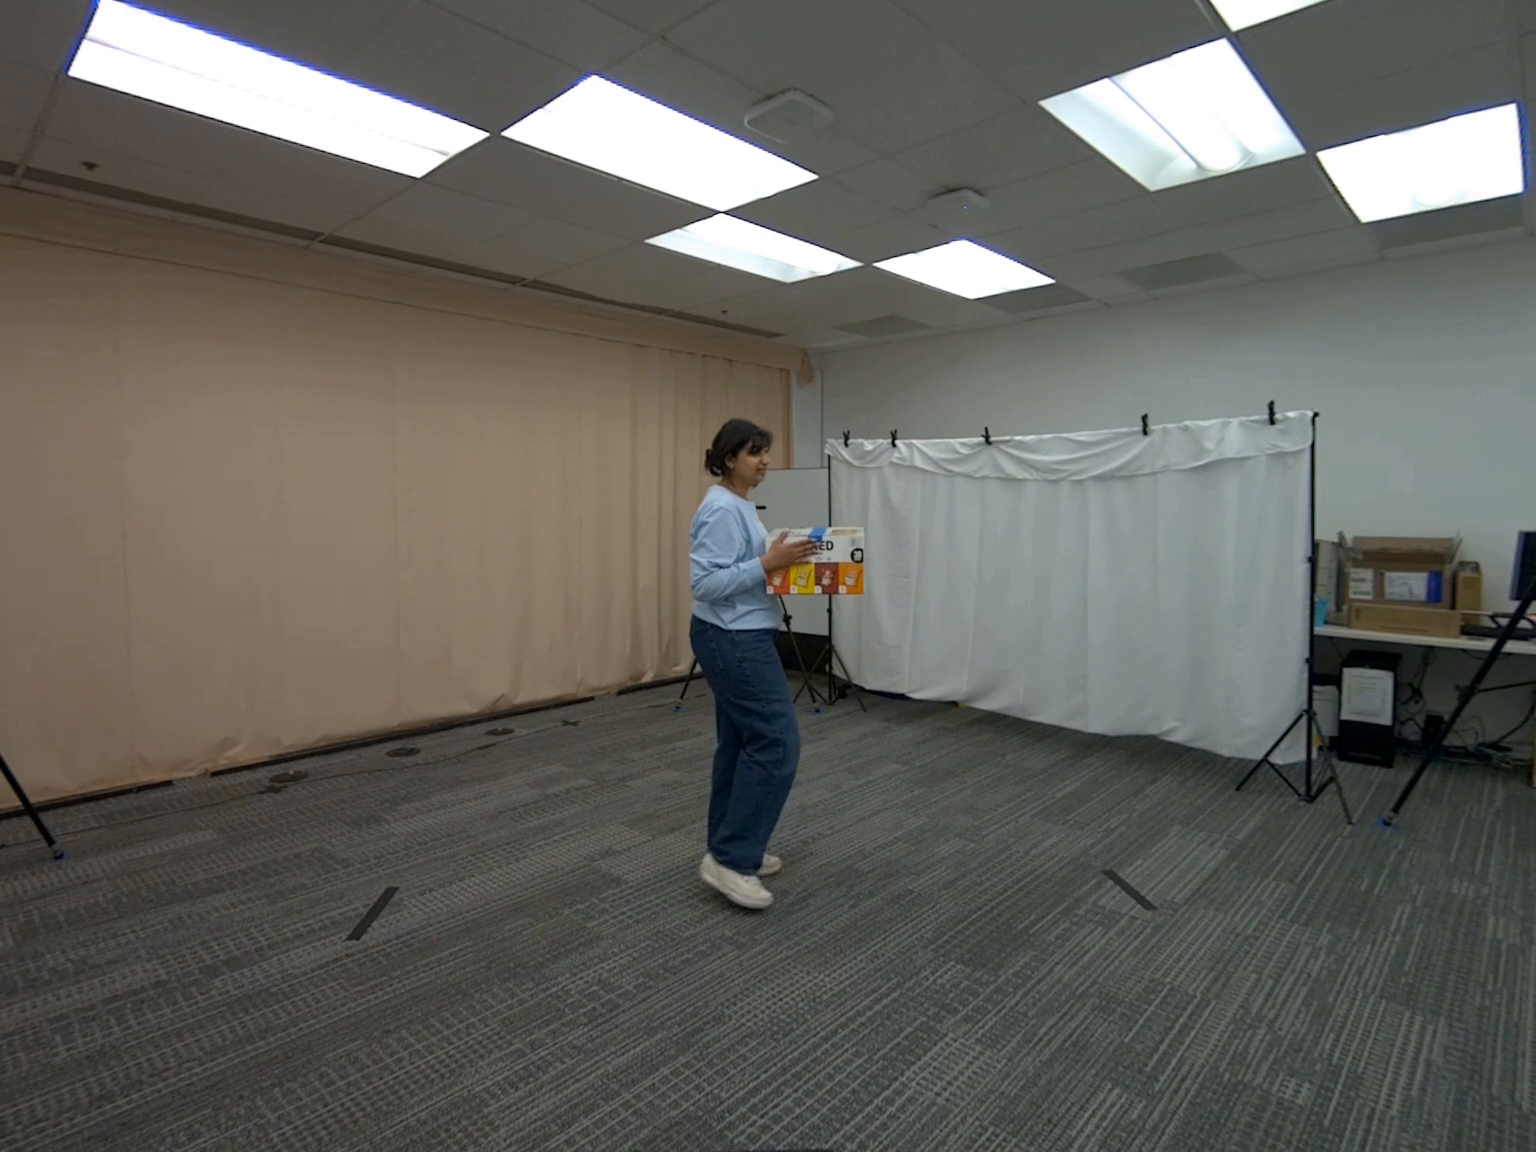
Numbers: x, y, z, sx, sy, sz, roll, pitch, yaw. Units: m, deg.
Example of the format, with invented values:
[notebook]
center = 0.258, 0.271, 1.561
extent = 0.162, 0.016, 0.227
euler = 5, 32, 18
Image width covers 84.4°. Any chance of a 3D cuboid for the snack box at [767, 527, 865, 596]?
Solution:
[snack box]
center = 0.184, -0.059, 3.079
extent = 0.344, 0.205, 0.403
euler = -1, 6, 8
